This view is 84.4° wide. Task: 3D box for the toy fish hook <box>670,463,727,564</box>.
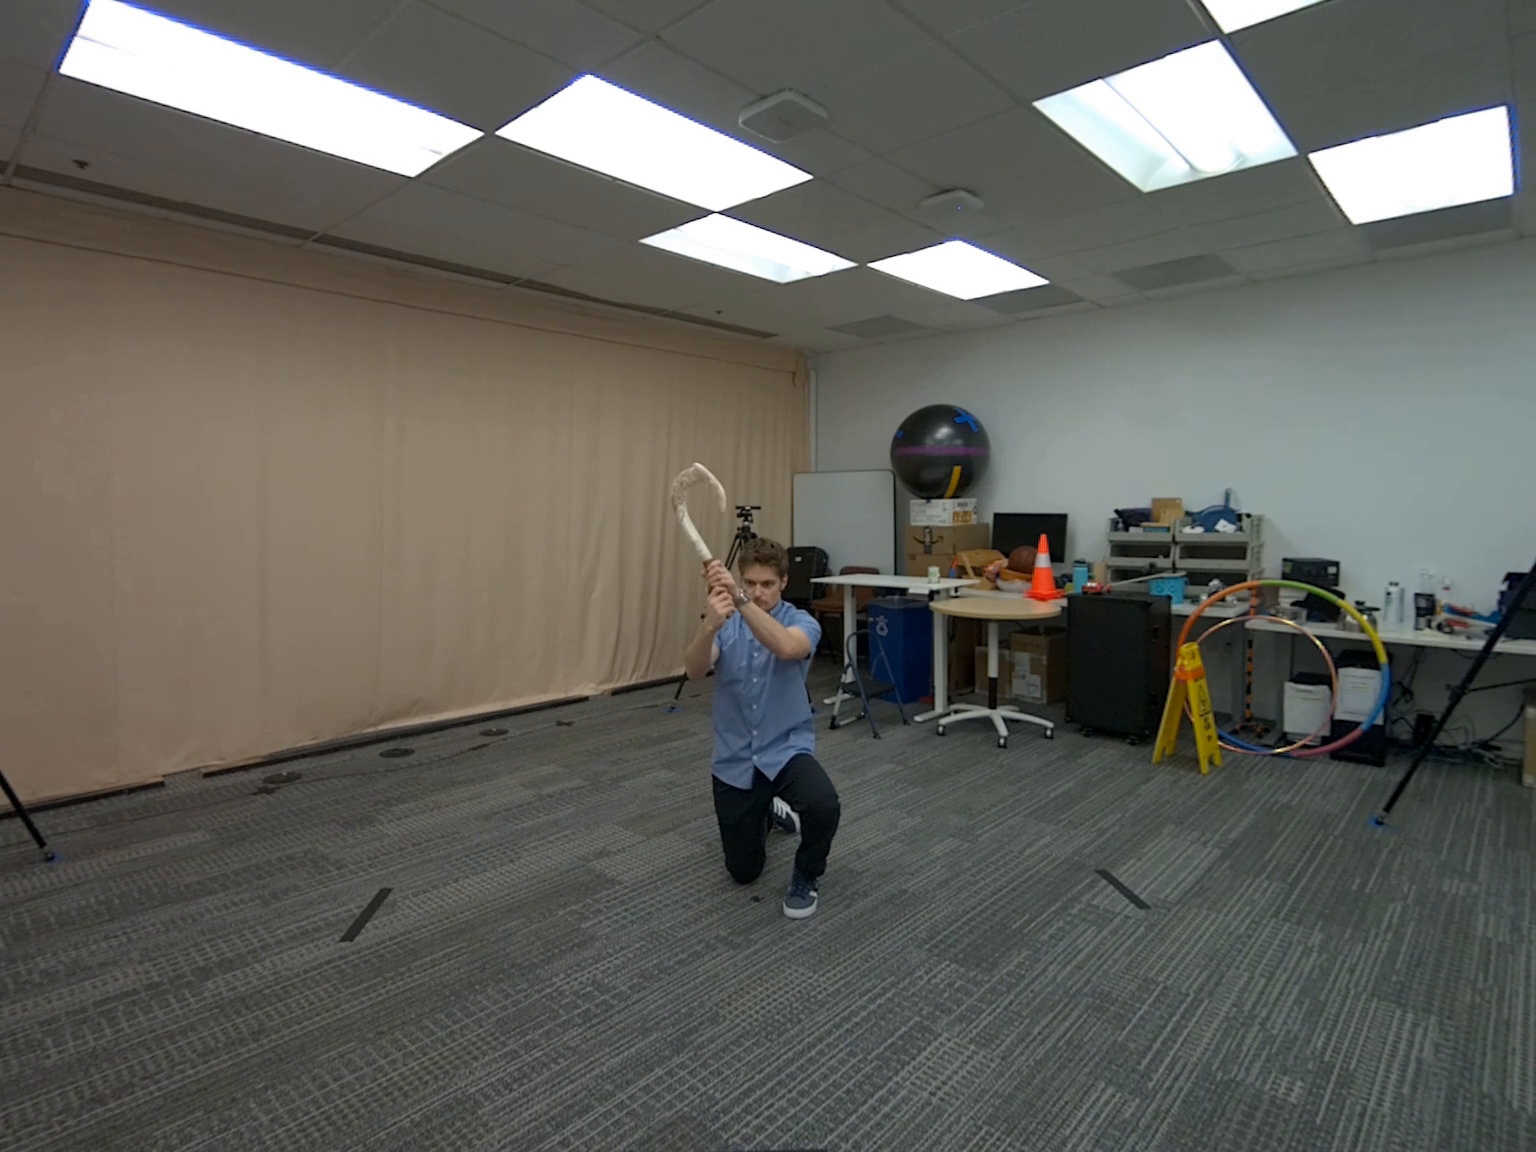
[{"bbox_3d":[-0.177,-0.095,2.709,0.047,0.512,0.228,-10,-16,-47],"label":"toy fish hook"}]
